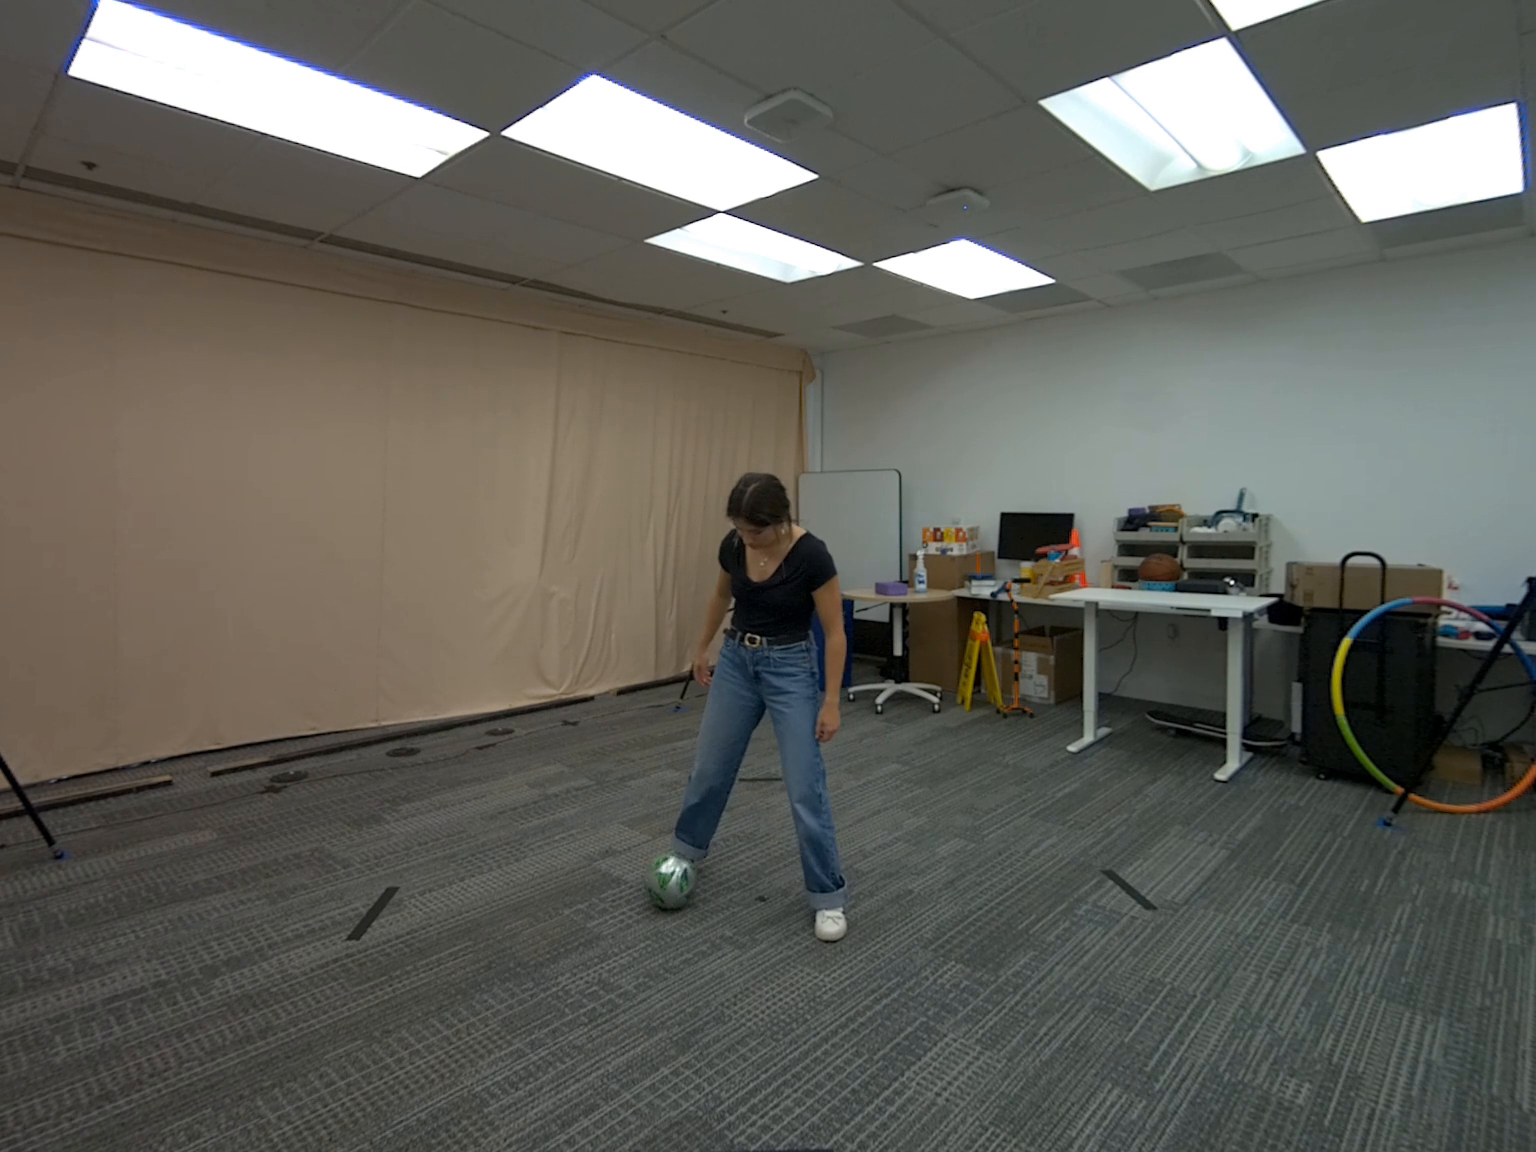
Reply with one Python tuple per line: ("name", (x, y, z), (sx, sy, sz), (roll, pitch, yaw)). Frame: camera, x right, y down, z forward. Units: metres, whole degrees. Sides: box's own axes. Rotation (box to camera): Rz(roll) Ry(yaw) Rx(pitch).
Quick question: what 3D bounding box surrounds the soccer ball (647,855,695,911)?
("soccer ball", (-0.340, 1.054, 2.933), (0.187, 0.187, 0.188), (0, 4, -2))
